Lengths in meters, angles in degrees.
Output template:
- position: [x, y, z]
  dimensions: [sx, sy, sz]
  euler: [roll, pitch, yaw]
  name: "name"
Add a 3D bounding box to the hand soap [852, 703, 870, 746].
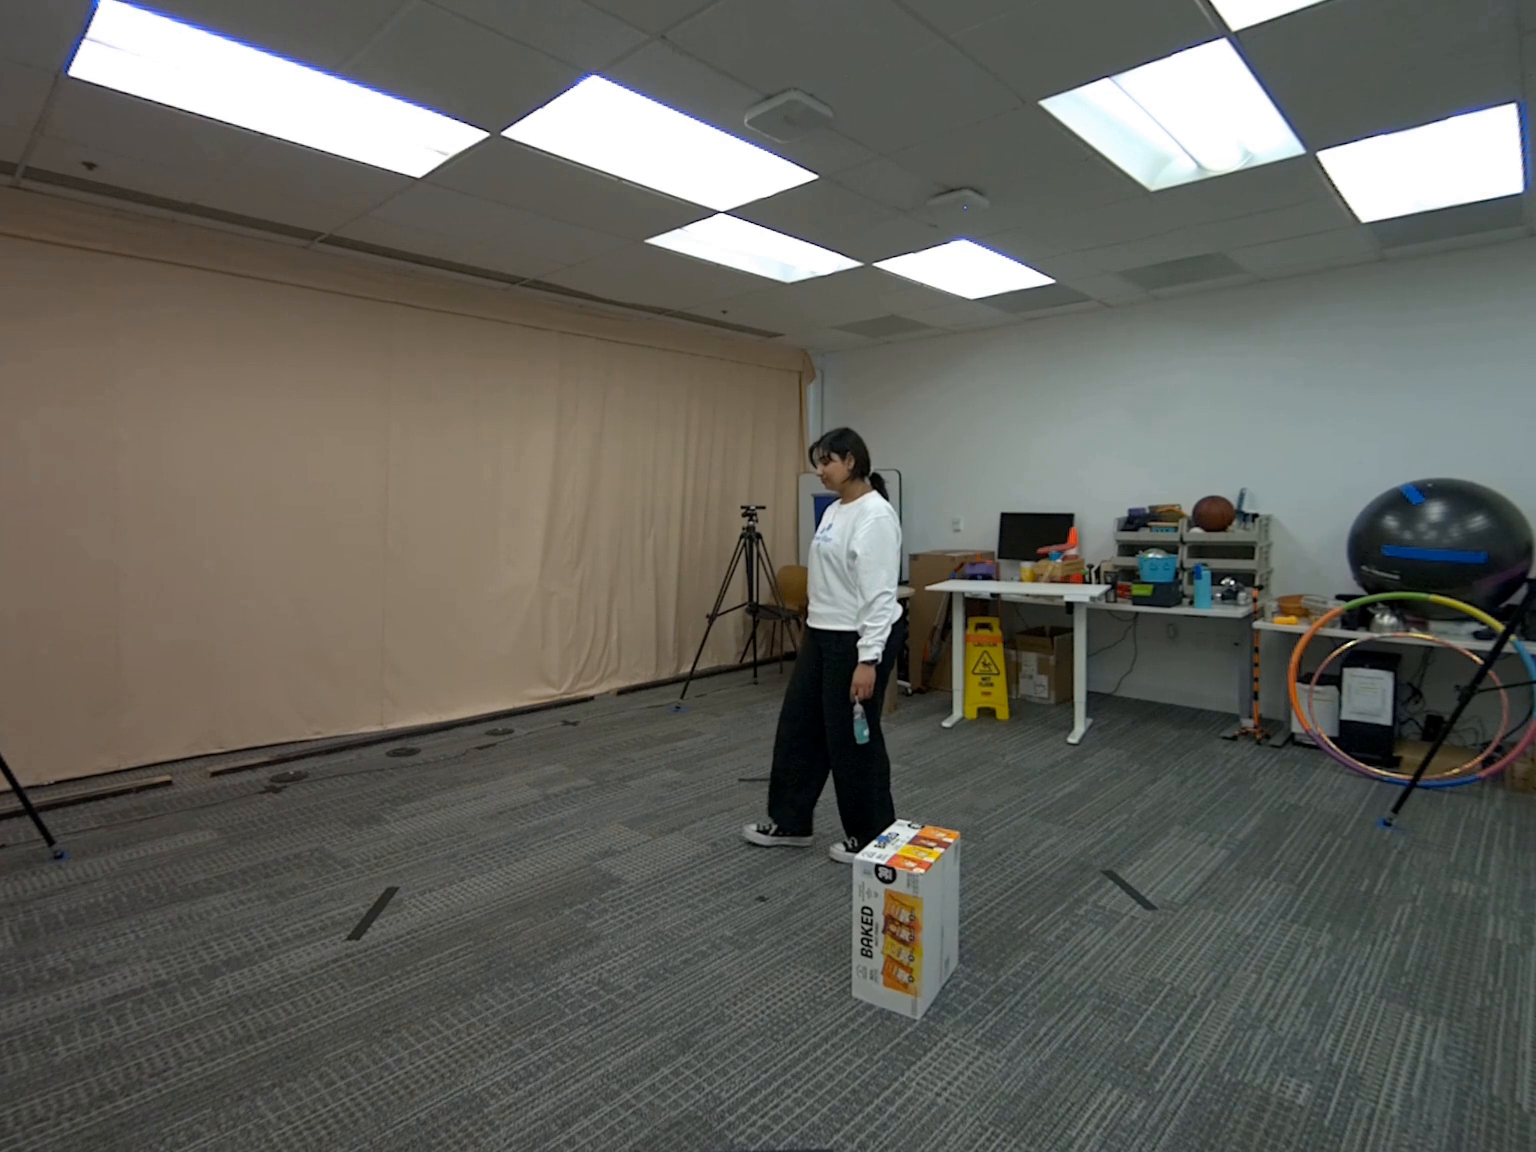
- position: [0.338, 0.517, 3.058]
  dimensions: [0.044, 0.168, 0.083]
  euler: [-7, -3, 15]
  name: "hand soap"
